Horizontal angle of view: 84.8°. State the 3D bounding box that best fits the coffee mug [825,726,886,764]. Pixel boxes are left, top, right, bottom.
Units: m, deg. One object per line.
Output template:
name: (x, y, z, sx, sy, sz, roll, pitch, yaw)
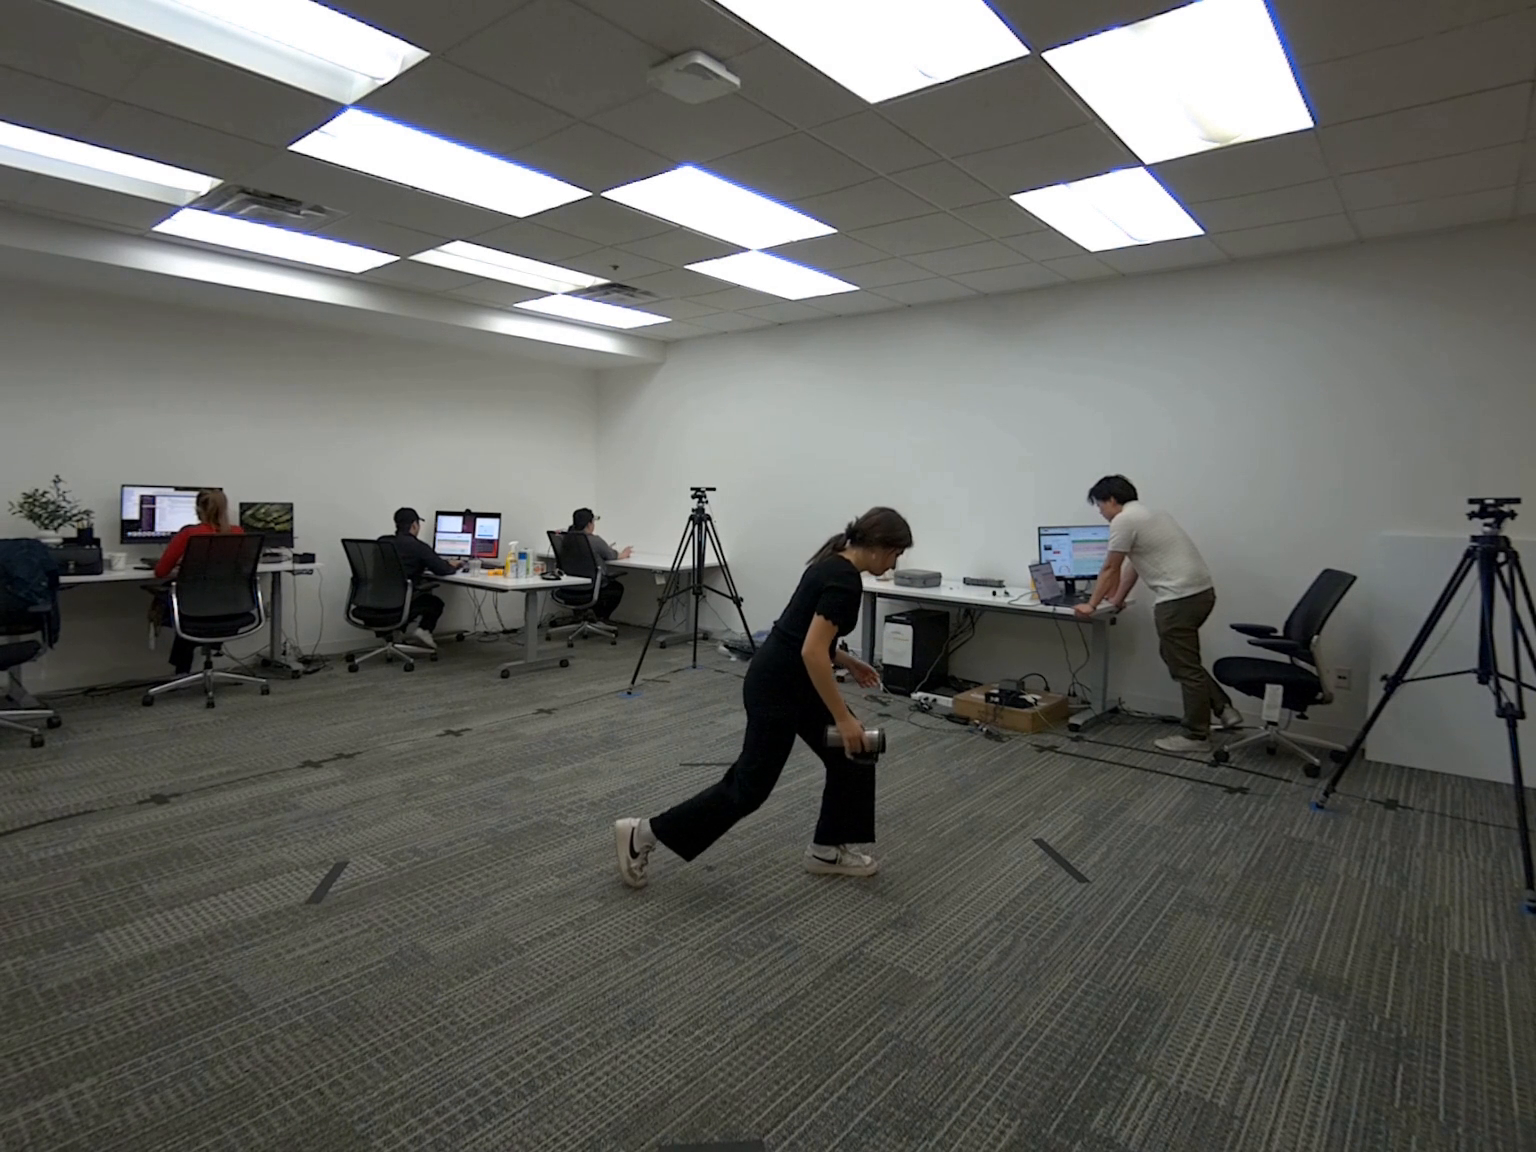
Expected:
coffee mug: (0.280, 0.565, 2.854, 0.203, 0.124, 0.086, 3, -21, 2)
